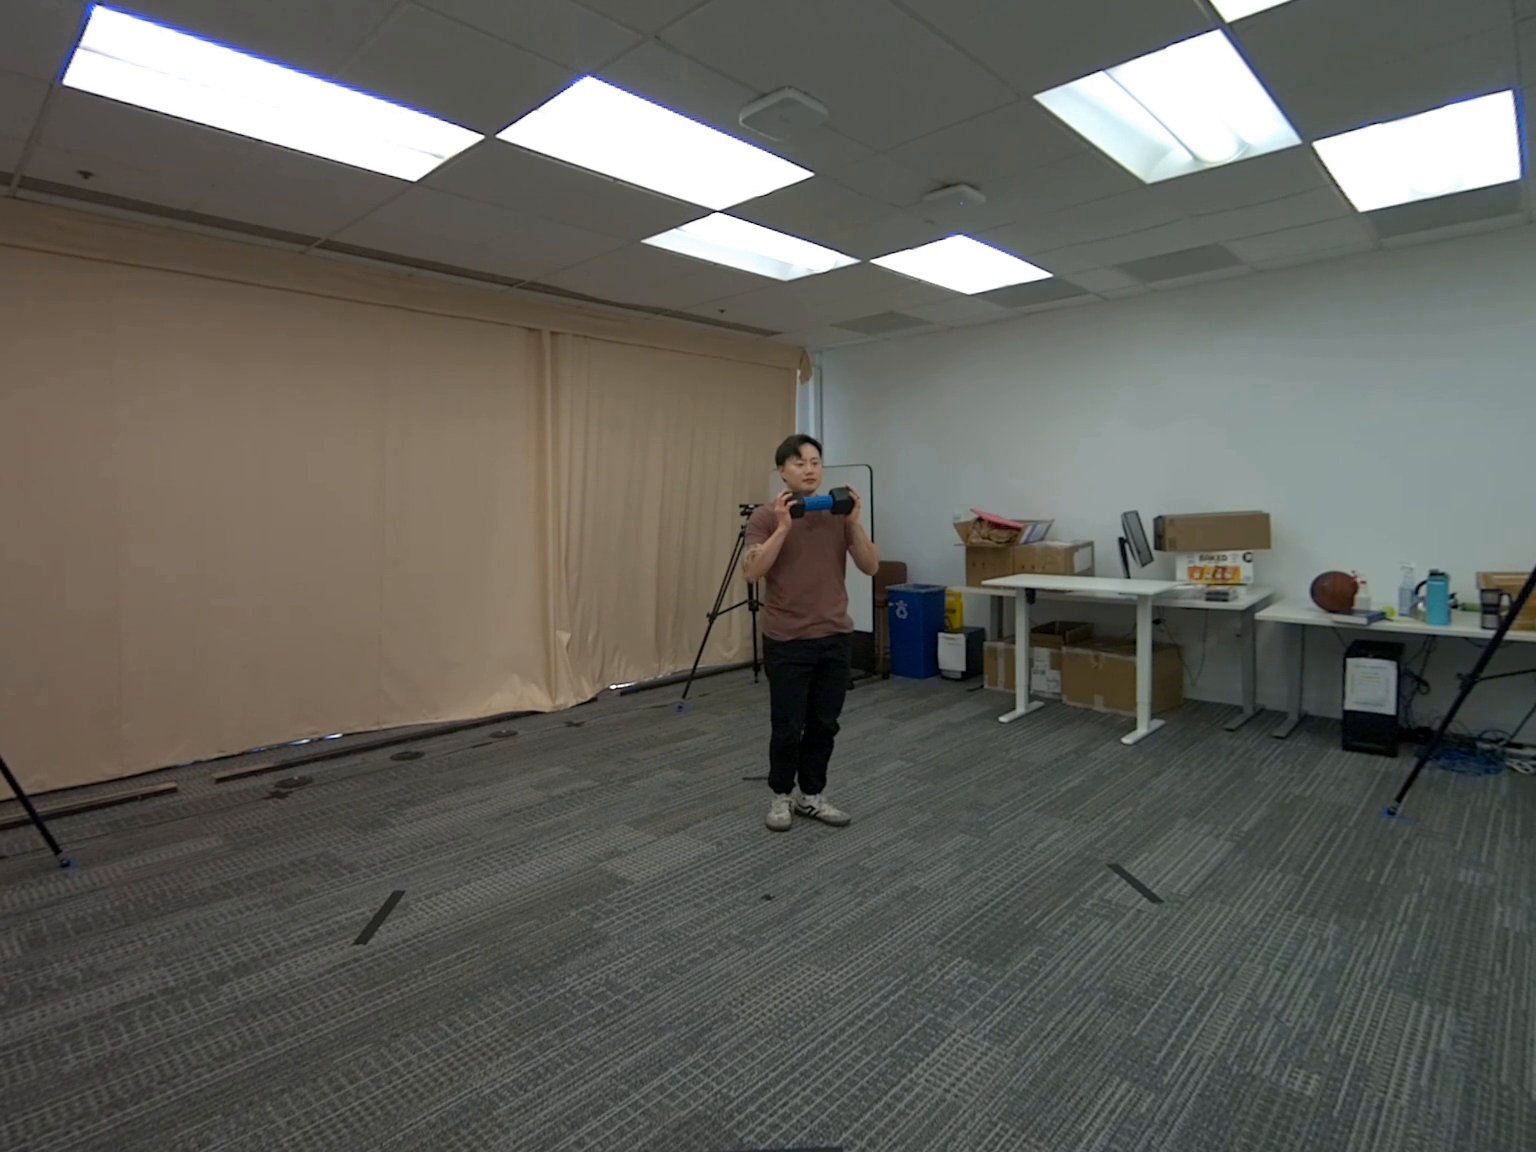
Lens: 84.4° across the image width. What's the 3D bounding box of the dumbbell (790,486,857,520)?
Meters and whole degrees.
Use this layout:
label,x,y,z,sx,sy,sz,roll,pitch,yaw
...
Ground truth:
label,x,y,z,sx,sy,sz,roll,pitch,yaw
dumbbell,0.193,-0.291,3.431,0.291,0.109,0.124,-6,-2,-8
